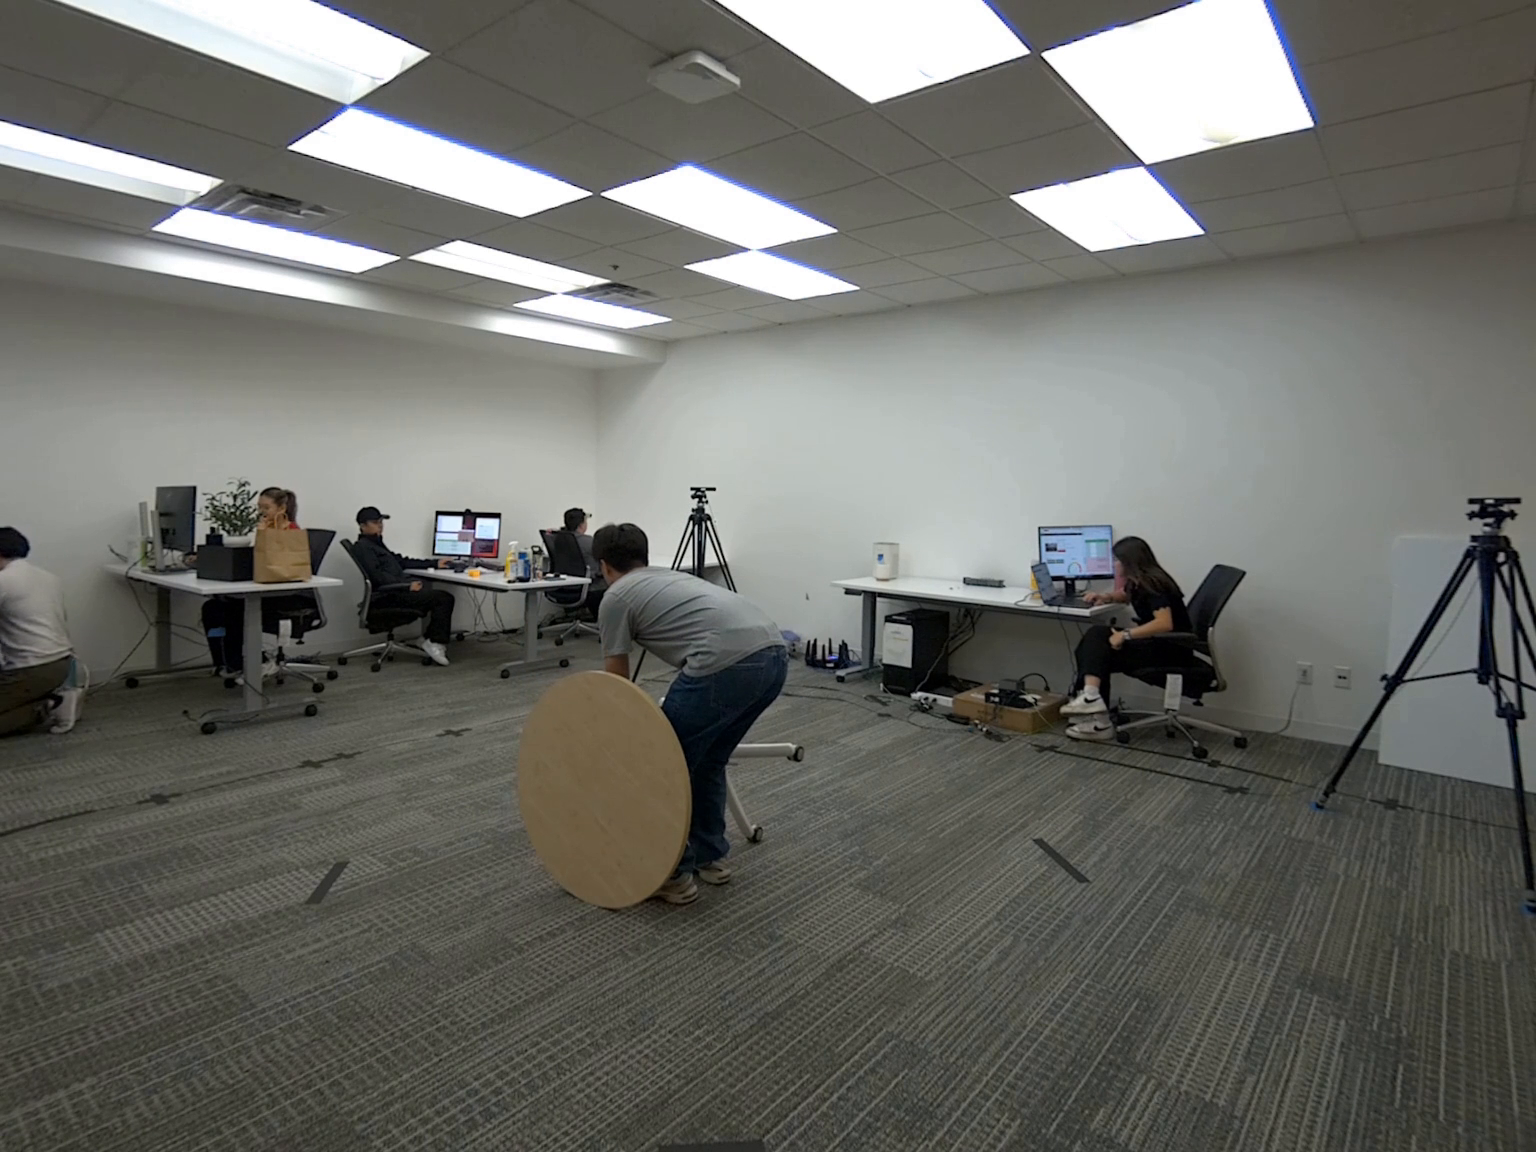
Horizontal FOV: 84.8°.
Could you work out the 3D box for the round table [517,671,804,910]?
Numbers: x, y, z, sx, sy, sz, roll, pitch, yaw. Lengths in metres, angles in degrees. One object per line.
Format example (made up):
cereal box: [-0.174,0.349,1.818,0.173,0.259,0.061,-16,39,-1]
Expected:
round table: [-0.383,0.704,3.158,0.788,0.764,0.770,3,1,33]
